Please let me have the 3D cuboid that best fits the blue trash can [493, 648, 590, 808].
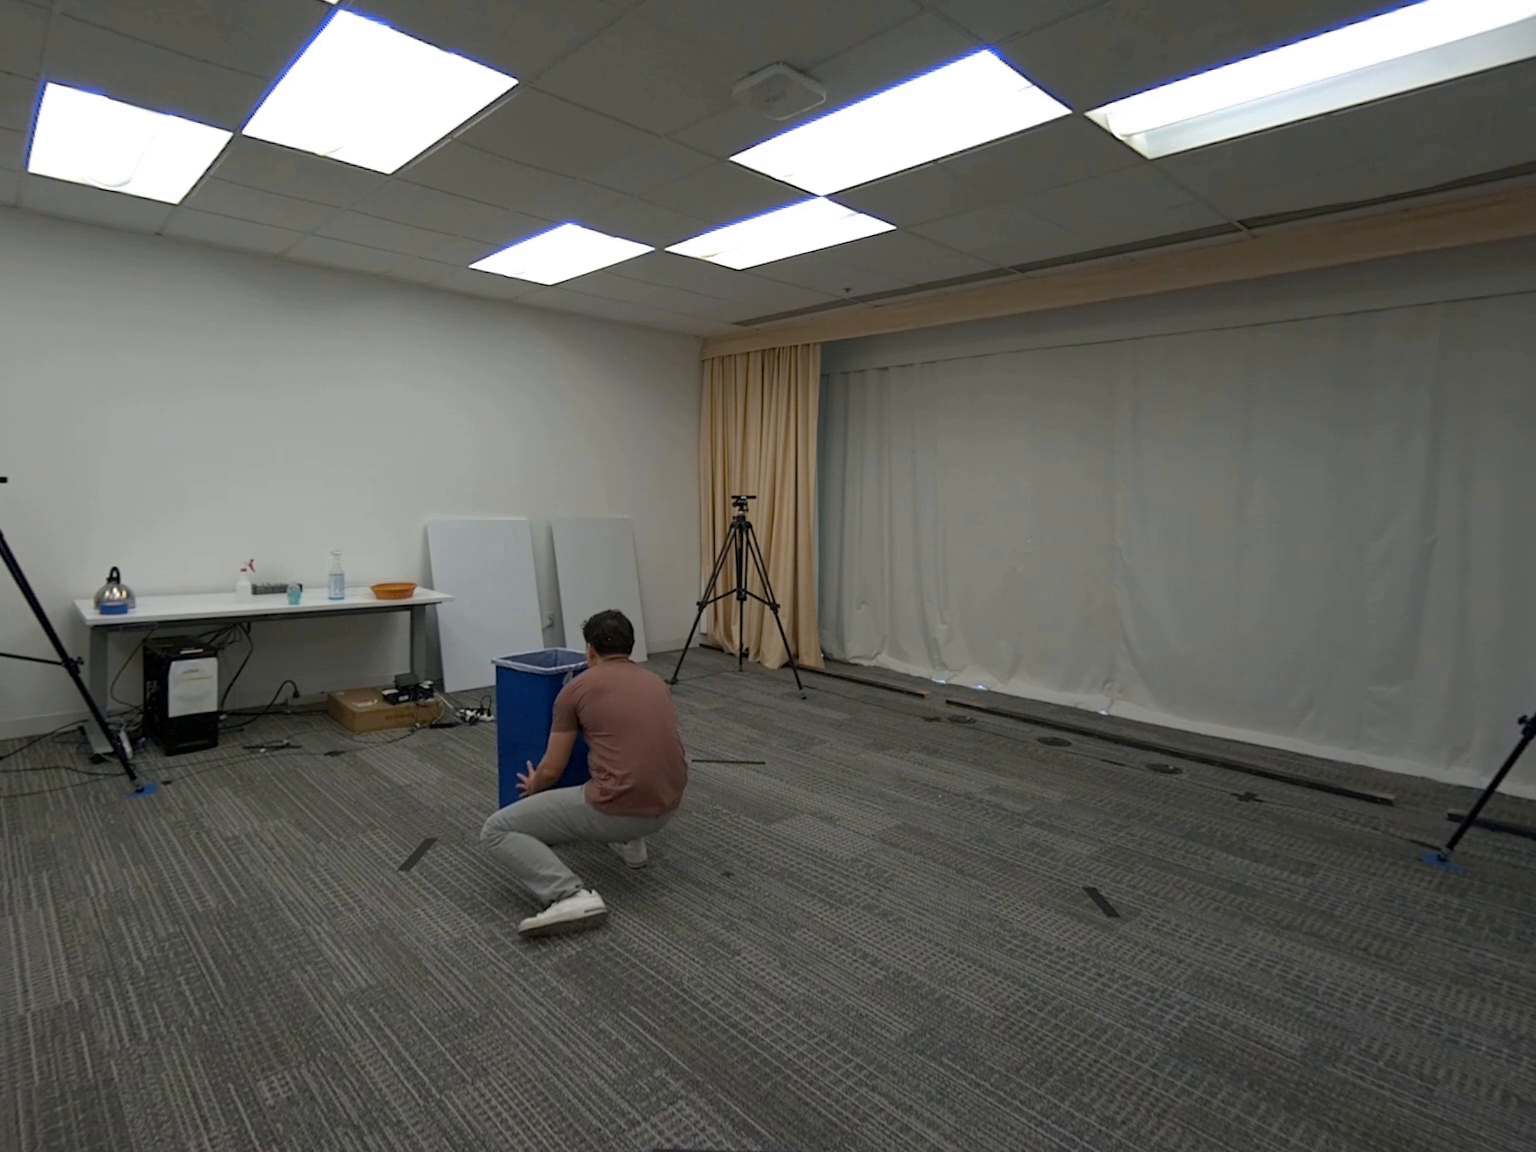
[{"bbox_3d":[-0.913,0.689,3.498,0.383,0.712,0.370,3,3,35],"label":"blue trash can"}]
